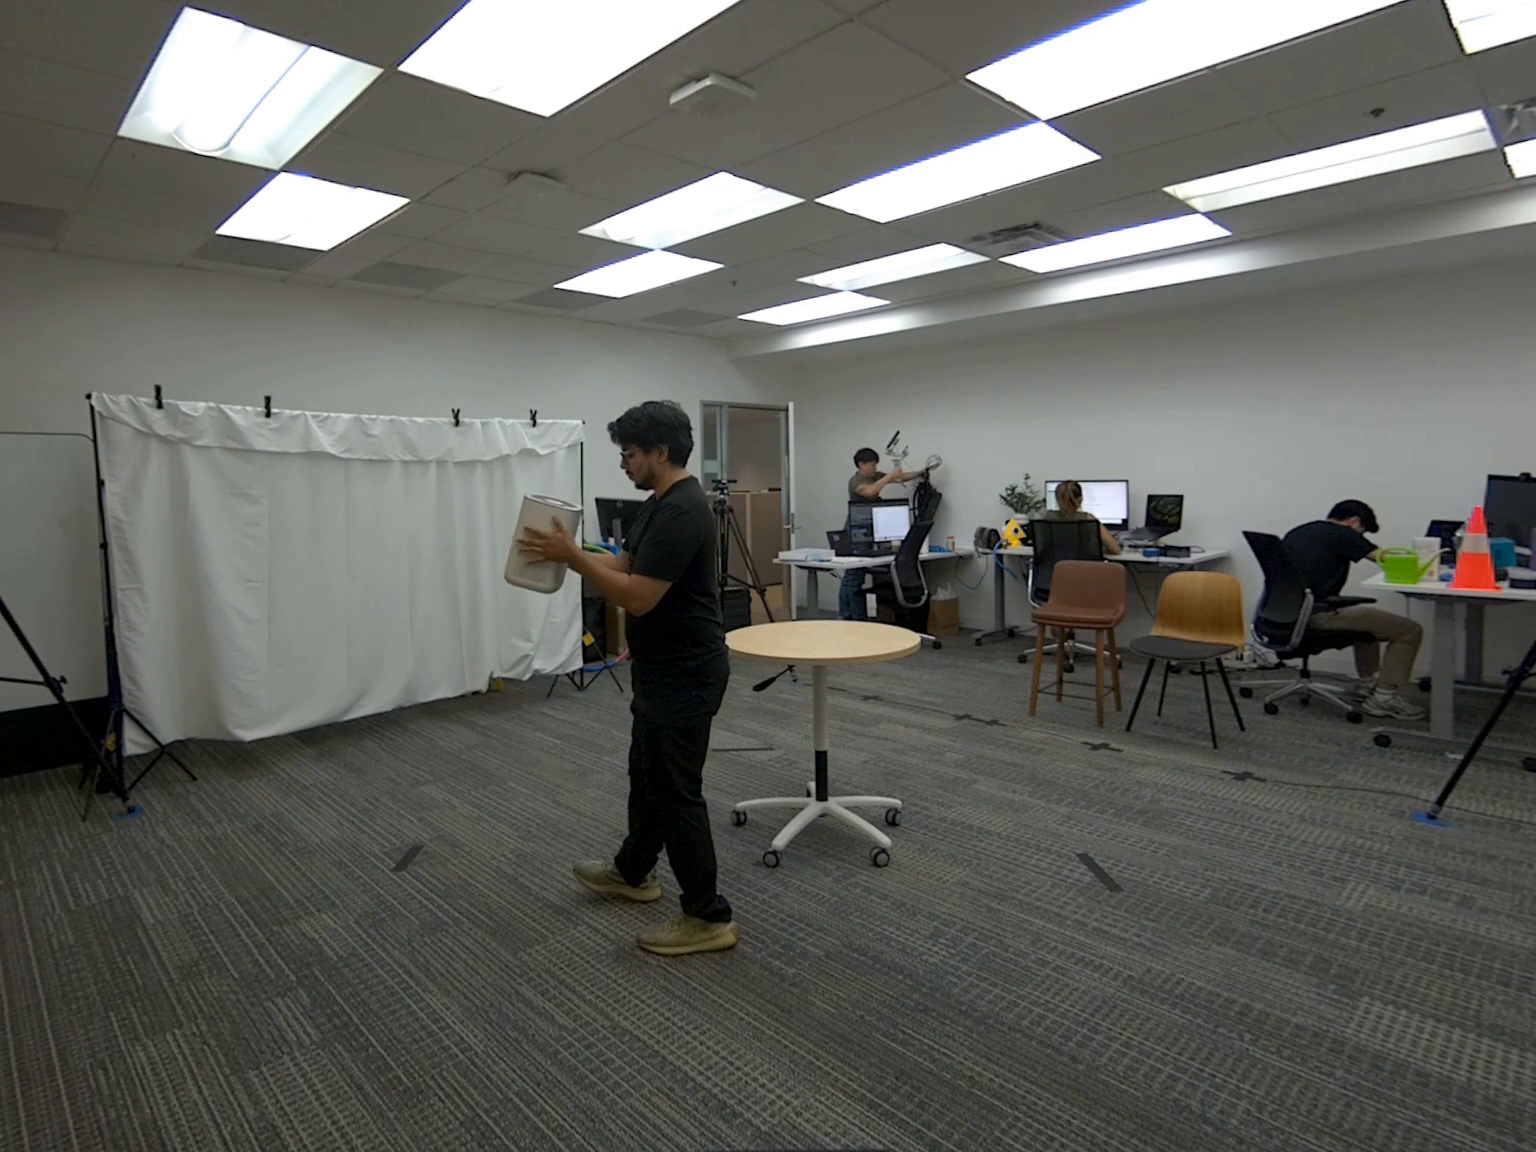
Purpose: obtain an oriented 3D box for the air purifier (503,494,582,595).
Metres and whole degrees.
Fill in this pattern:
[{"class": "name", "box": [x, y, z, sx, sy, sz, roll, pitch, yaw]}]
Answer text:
[{"class": "air purifier", "box": [-0.667, -0.093, 2.543, 0.171, 0.264, 0.172, 15, 9, -2]}]
